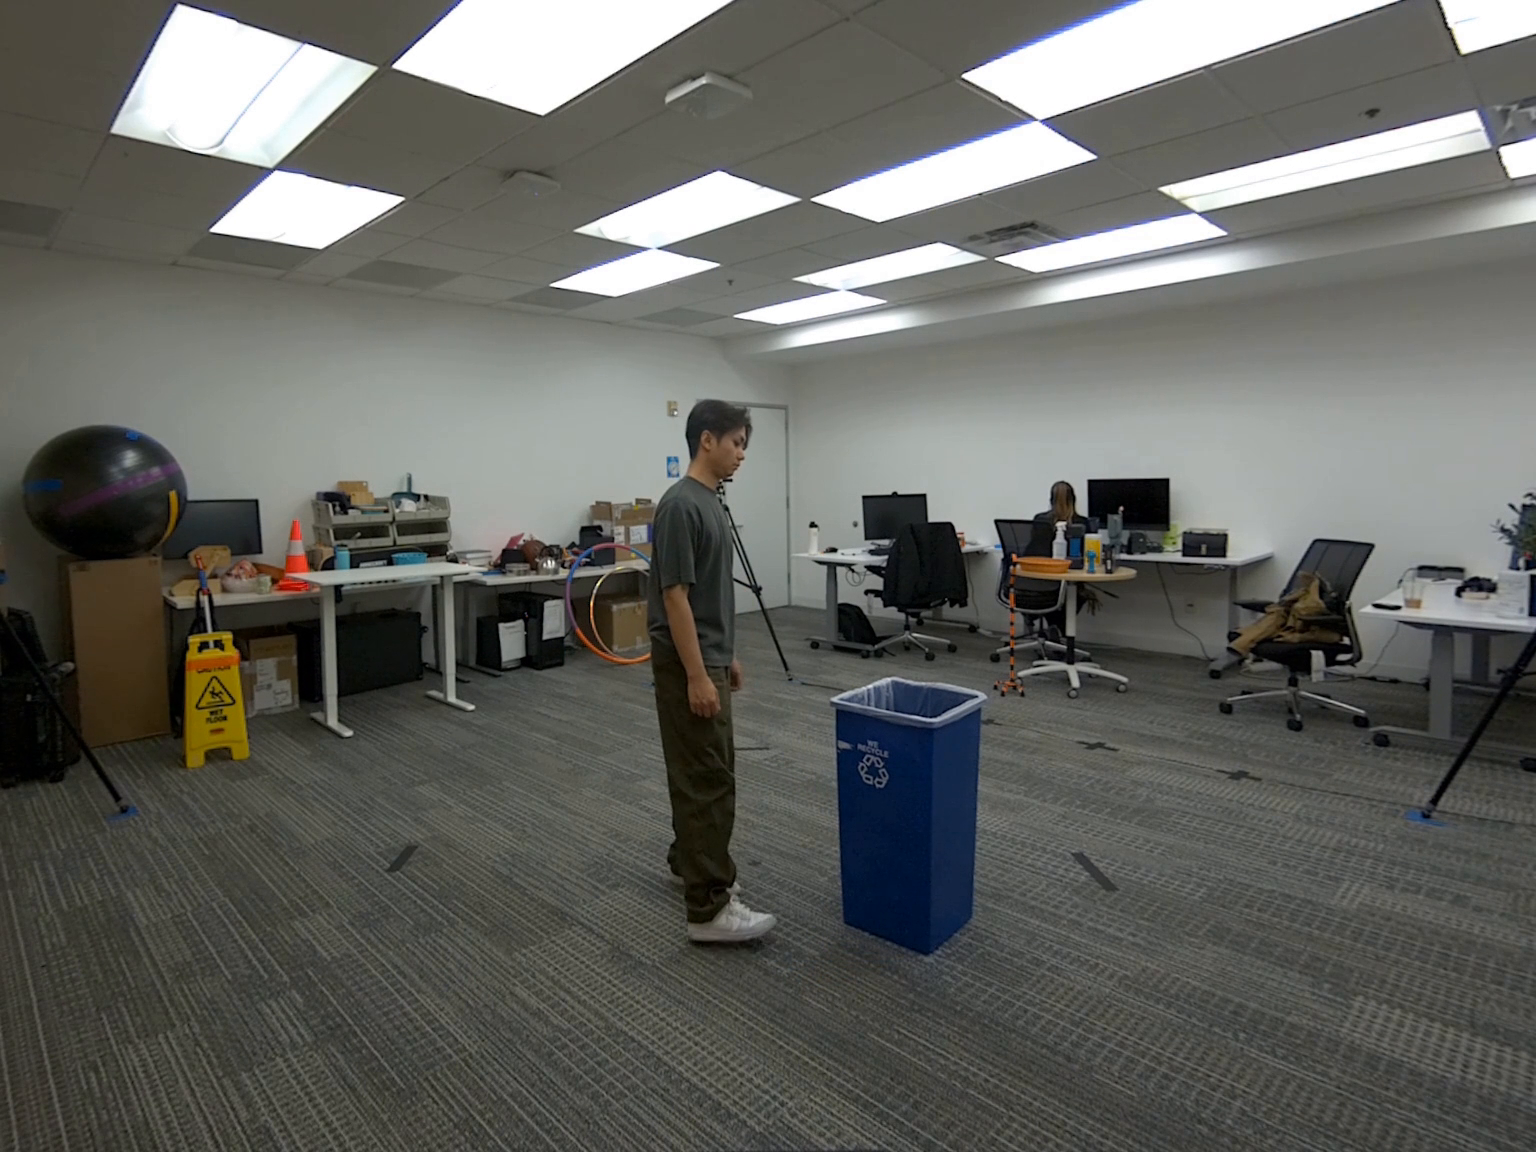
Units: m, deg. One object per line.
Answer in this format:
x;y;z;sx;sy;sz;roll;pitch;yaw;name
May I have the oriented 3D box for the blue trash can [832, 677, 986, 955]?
0.439;0.723;2.676;0.389;0.710;0.365;3;6;39;blue trash can
